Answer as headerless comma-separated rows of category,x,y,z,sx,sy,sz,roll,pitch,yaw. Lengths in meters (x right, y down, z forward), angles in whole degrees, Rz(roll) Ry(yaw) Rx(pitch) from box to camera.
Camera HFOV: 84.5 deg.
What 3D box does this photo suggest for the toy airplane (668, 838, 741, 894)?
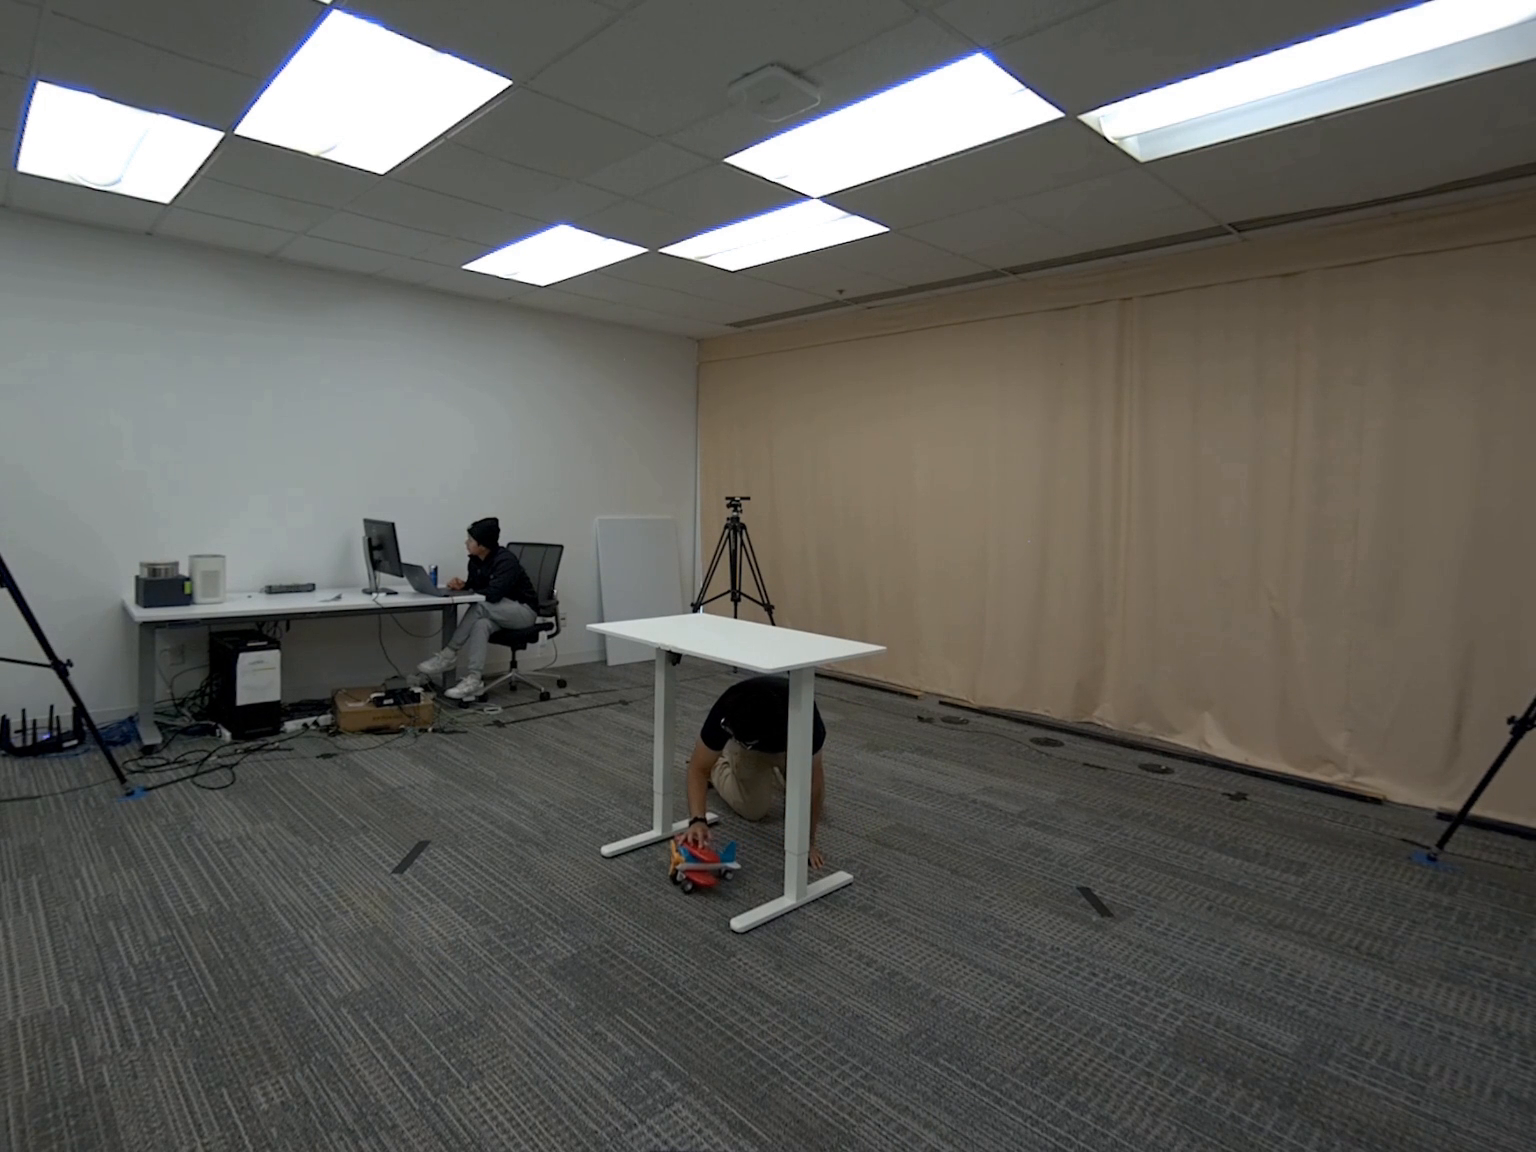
toy airplane,-0.252,1.037,3.051,0.257,0.156,0.254,3,7,33
